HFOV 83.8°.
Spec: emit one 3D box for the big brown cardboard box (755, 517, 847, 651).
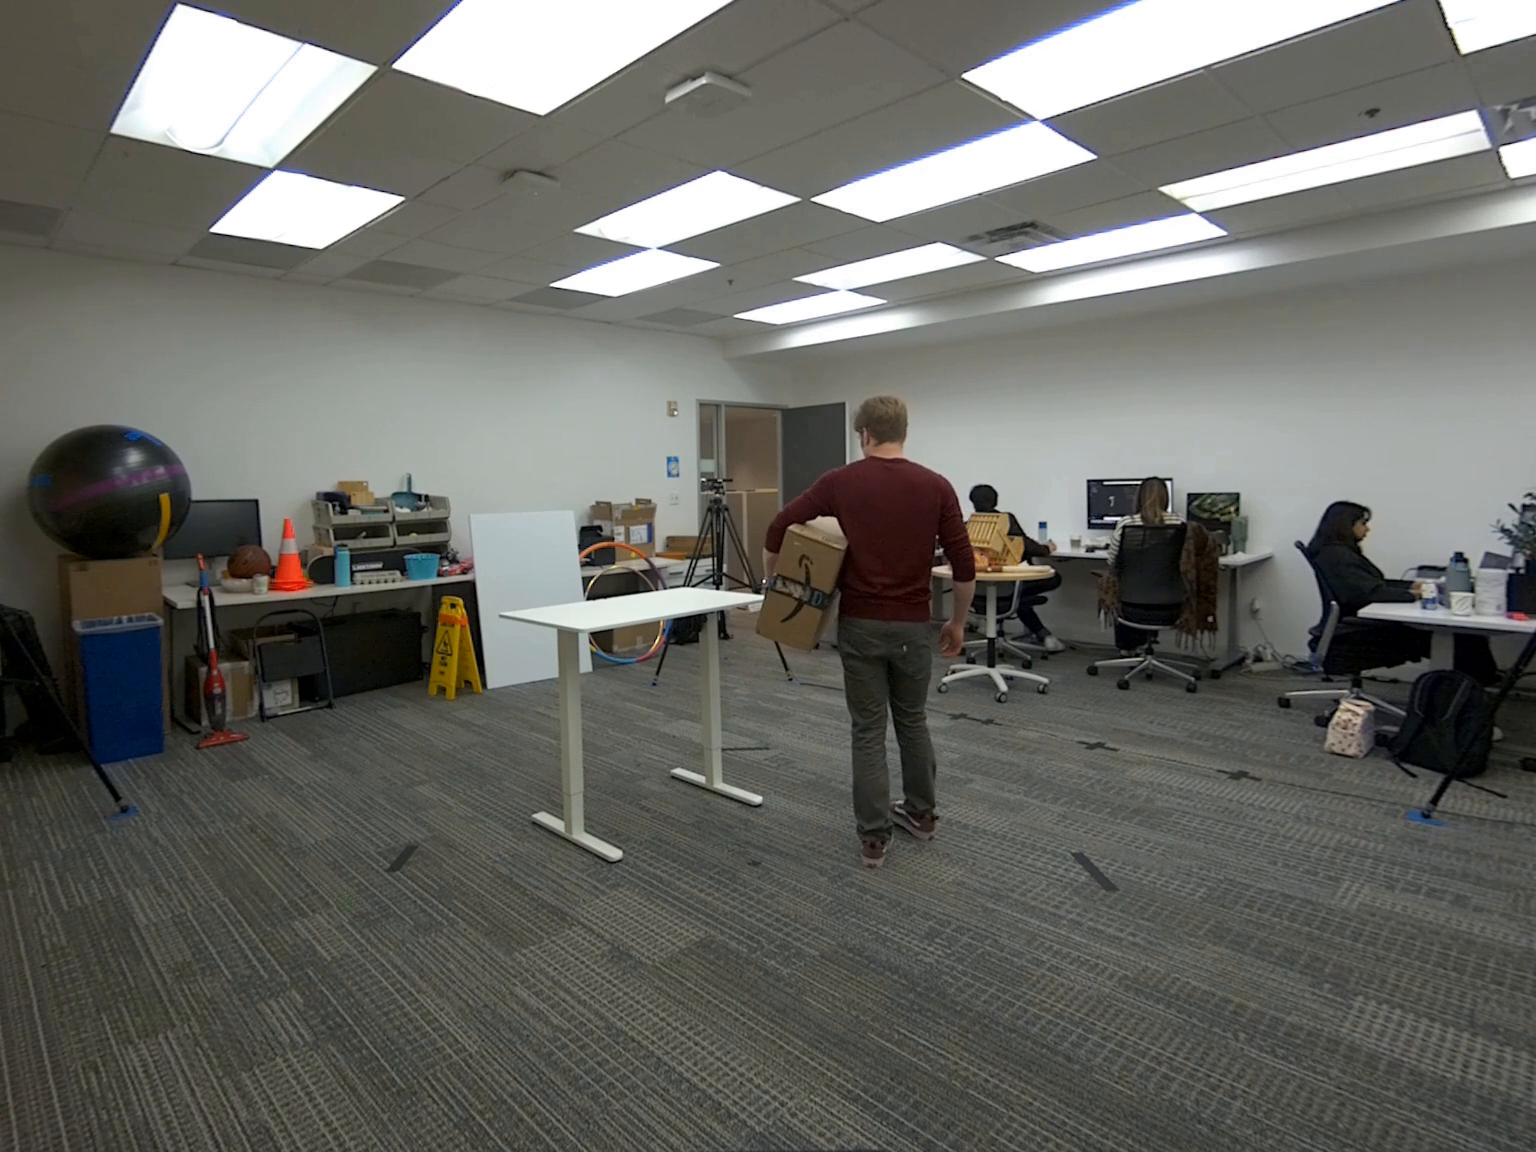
[{"bbox_3d":[0.184,0.002,3.302,0.237,0.414,0.585,19,14,11],"label":"big brown cardboard box"}]
